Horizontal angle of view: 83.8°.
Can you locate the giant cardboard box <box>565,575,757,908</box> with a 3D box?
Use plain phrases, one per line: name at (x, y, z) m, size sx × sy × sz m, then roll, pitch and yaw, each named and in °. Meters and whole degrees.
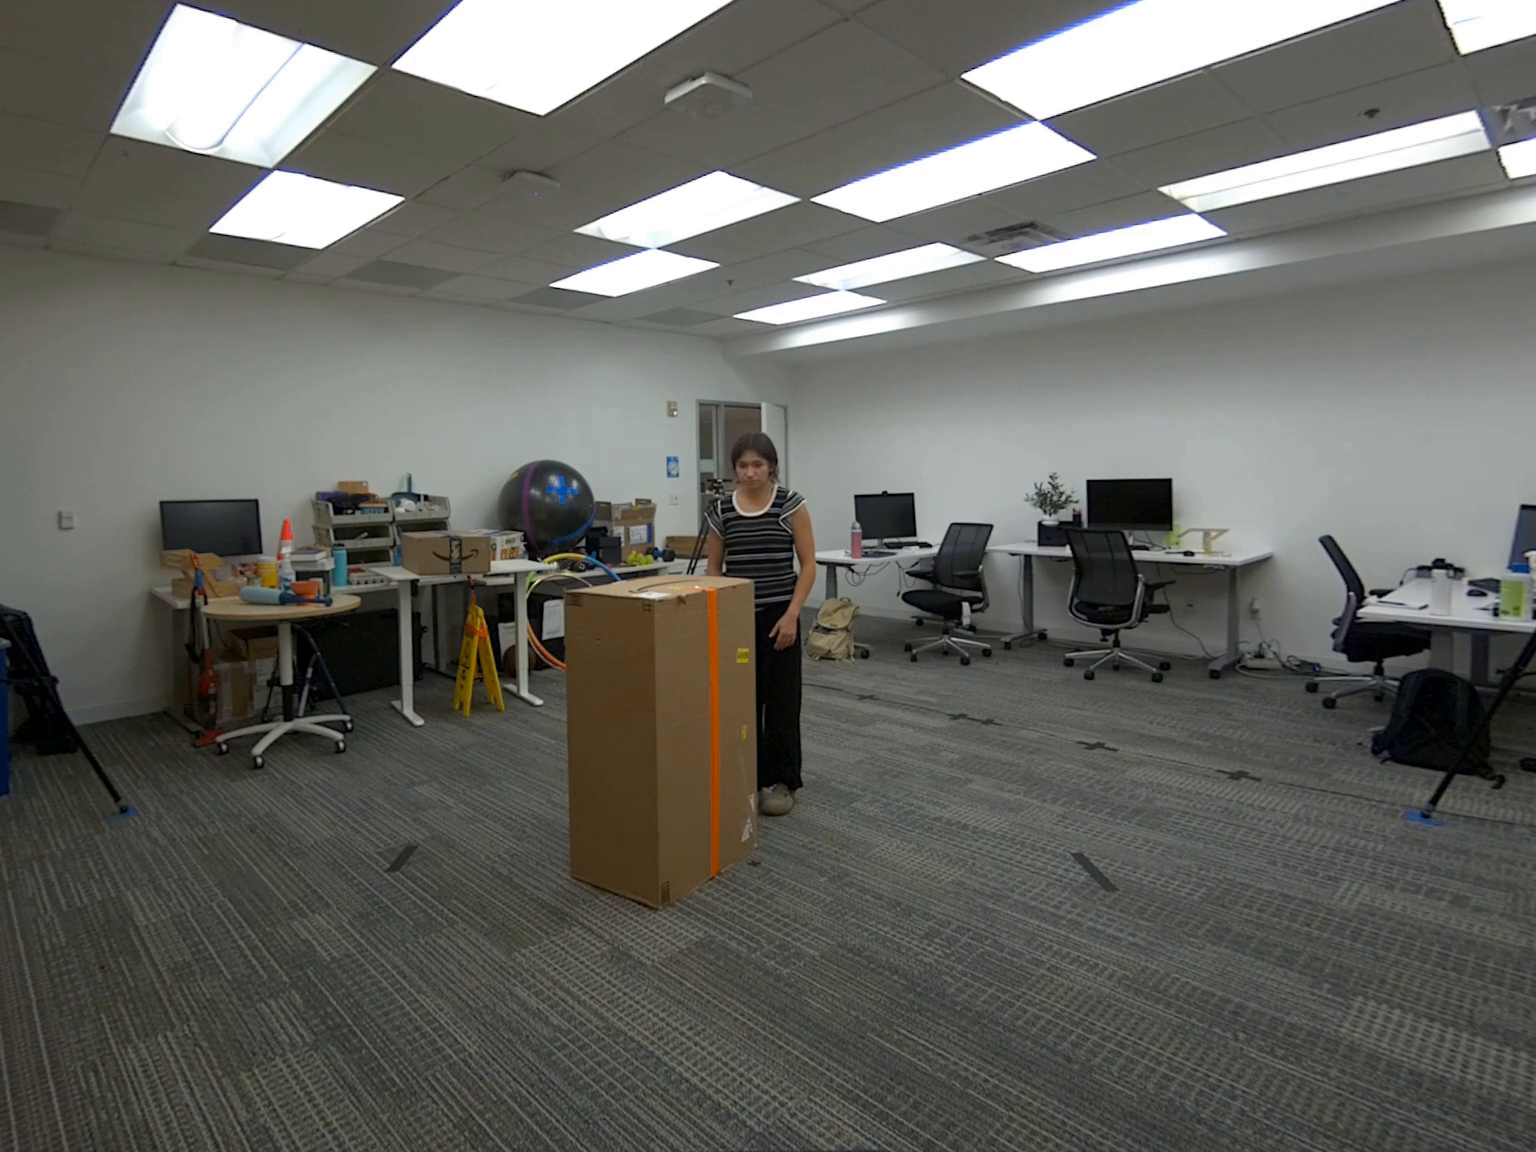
giant cardboard box at (-0.377, 0.543, 3.095) m, size 0.438 × 1.022 × 0.563 m, roll 2°, pitch 5°, yaw 34°
